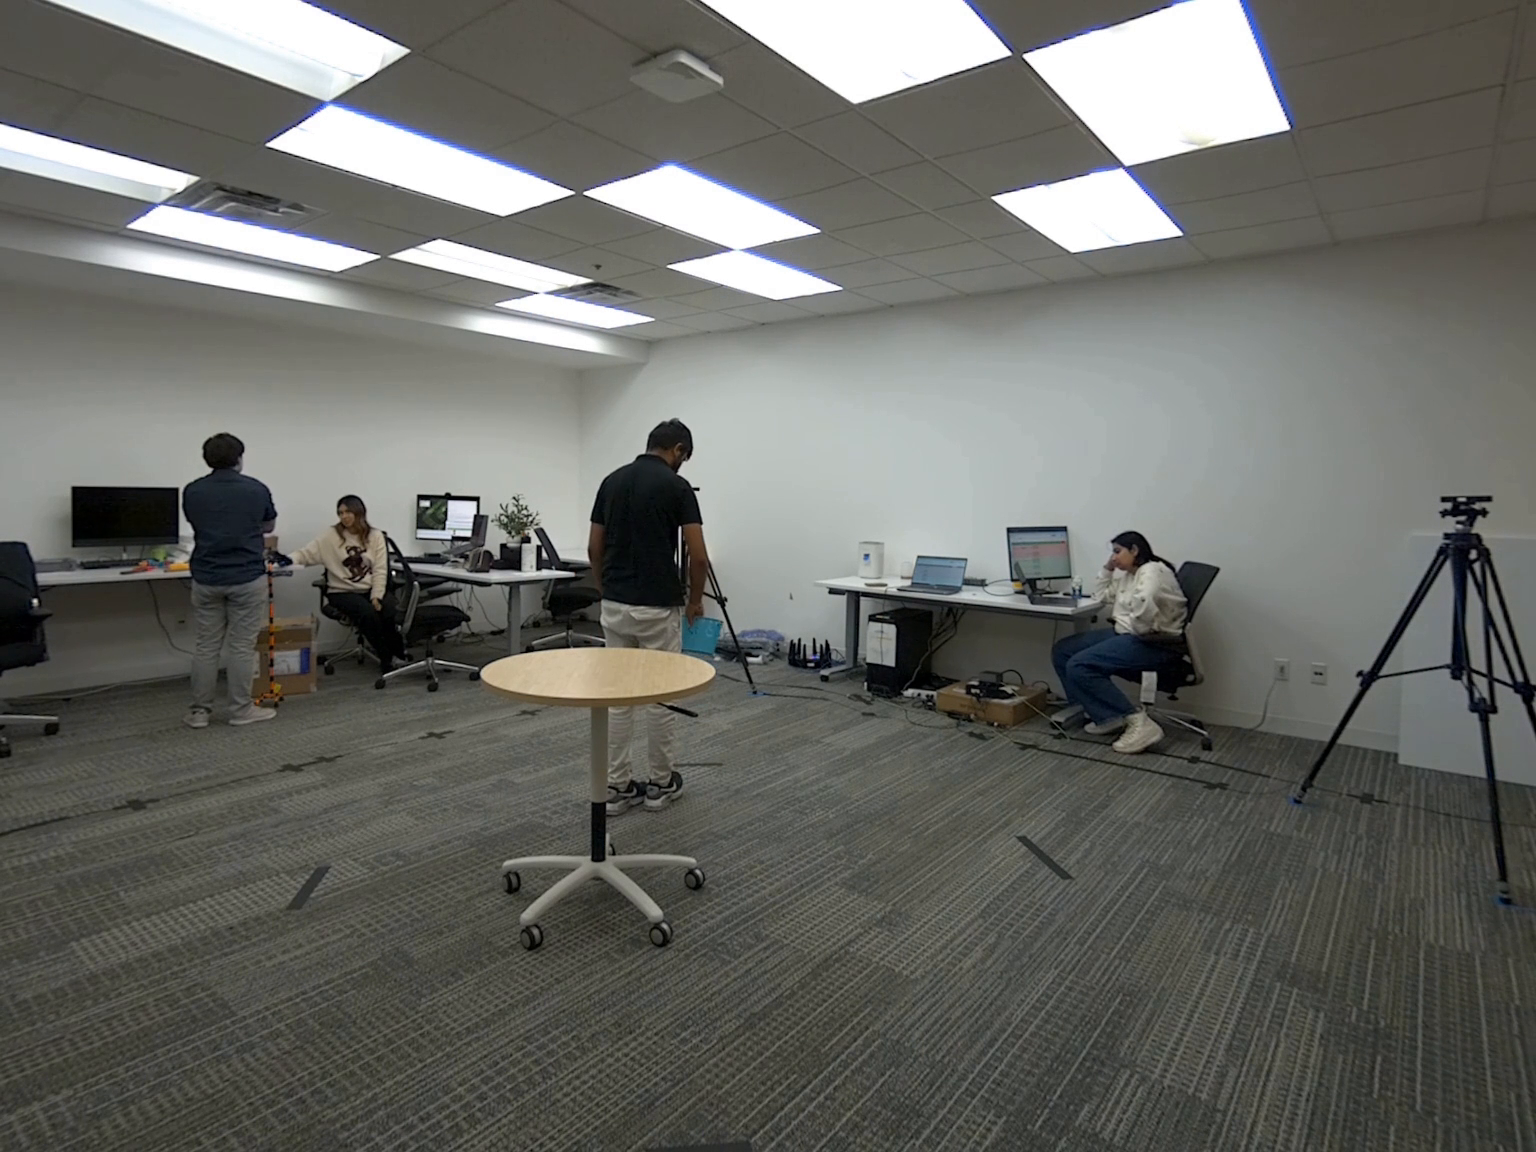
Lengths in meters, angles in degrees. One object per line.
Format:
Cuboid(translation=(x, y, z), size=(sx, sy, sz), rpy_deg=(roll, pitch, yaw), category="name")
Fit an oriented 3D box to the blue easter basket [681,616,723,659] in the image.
Cuboid(translation=(-0.332, 0.274, 3.894), size=(0.244, 0.157, 0.242), rpy_deg=(8, -7, -1), category="blue easter basket")
